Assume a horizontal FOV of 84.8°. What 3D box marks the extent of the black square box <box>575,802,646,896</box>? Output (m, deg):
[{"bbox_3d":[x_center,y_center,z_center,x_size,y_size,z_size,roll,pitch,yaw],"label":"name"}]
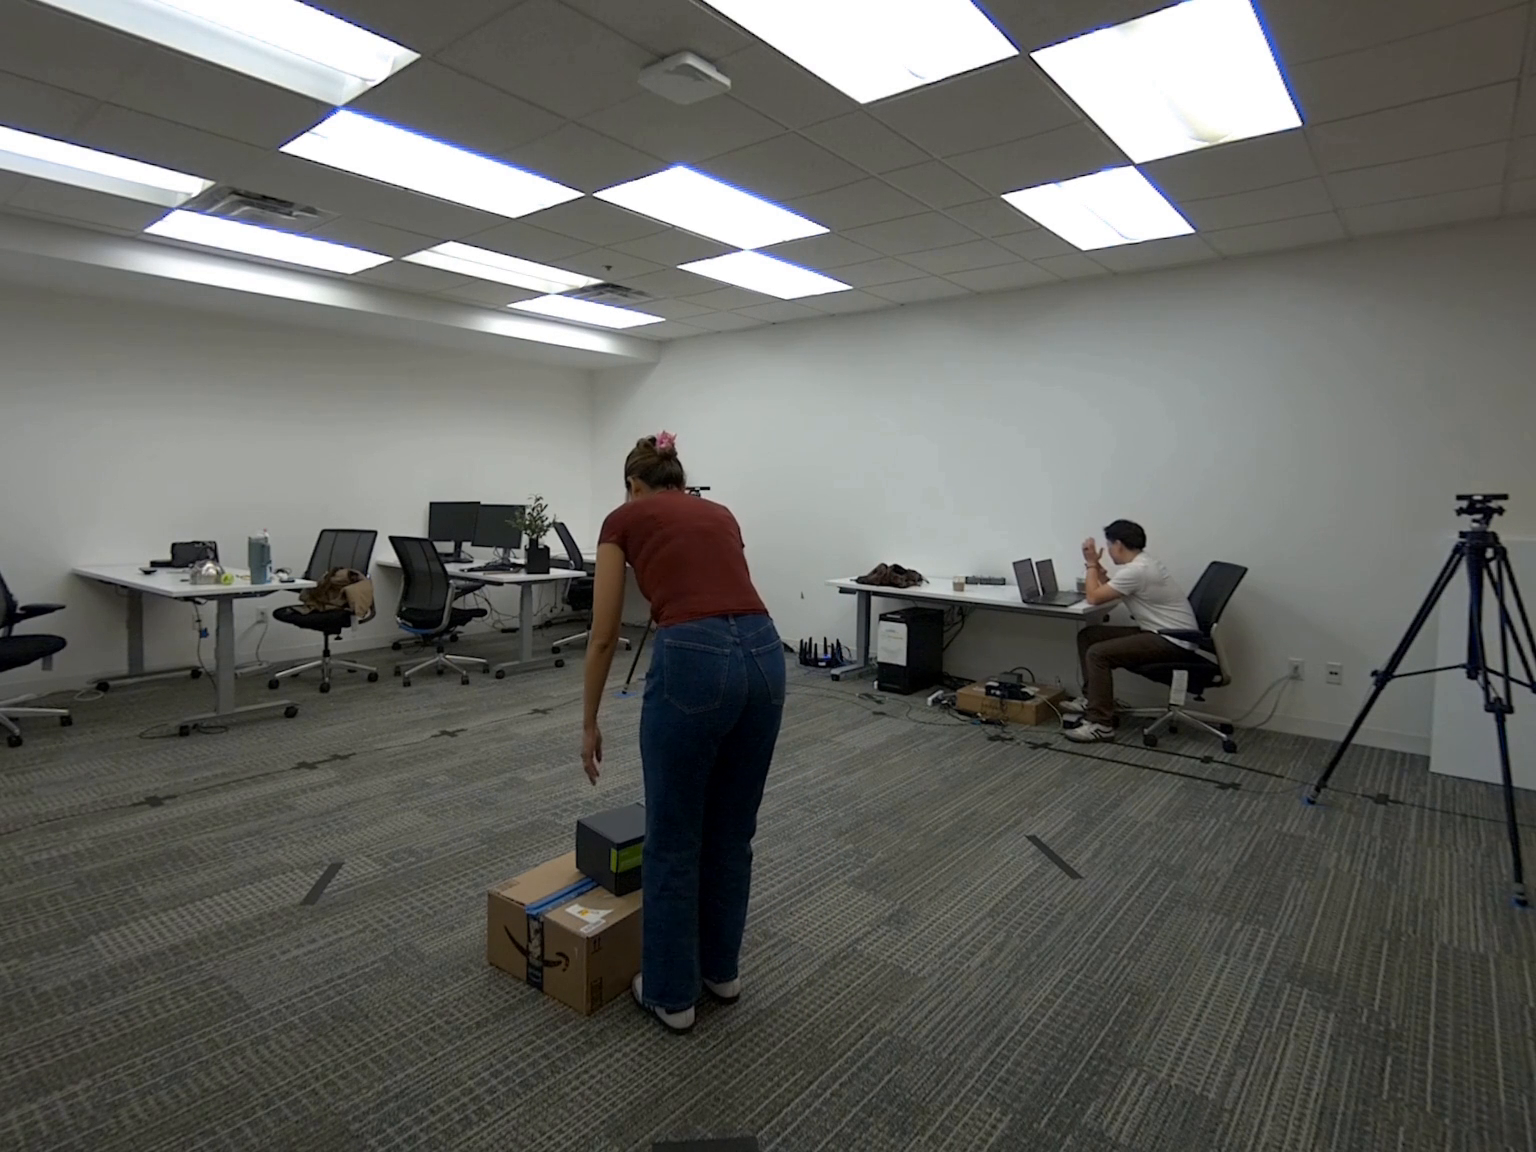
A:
[{"bbox_3d":[-0.434,0.815,2.572,0.221,0.155,0.225,-3,8,-44],"label":"black square box"}]
